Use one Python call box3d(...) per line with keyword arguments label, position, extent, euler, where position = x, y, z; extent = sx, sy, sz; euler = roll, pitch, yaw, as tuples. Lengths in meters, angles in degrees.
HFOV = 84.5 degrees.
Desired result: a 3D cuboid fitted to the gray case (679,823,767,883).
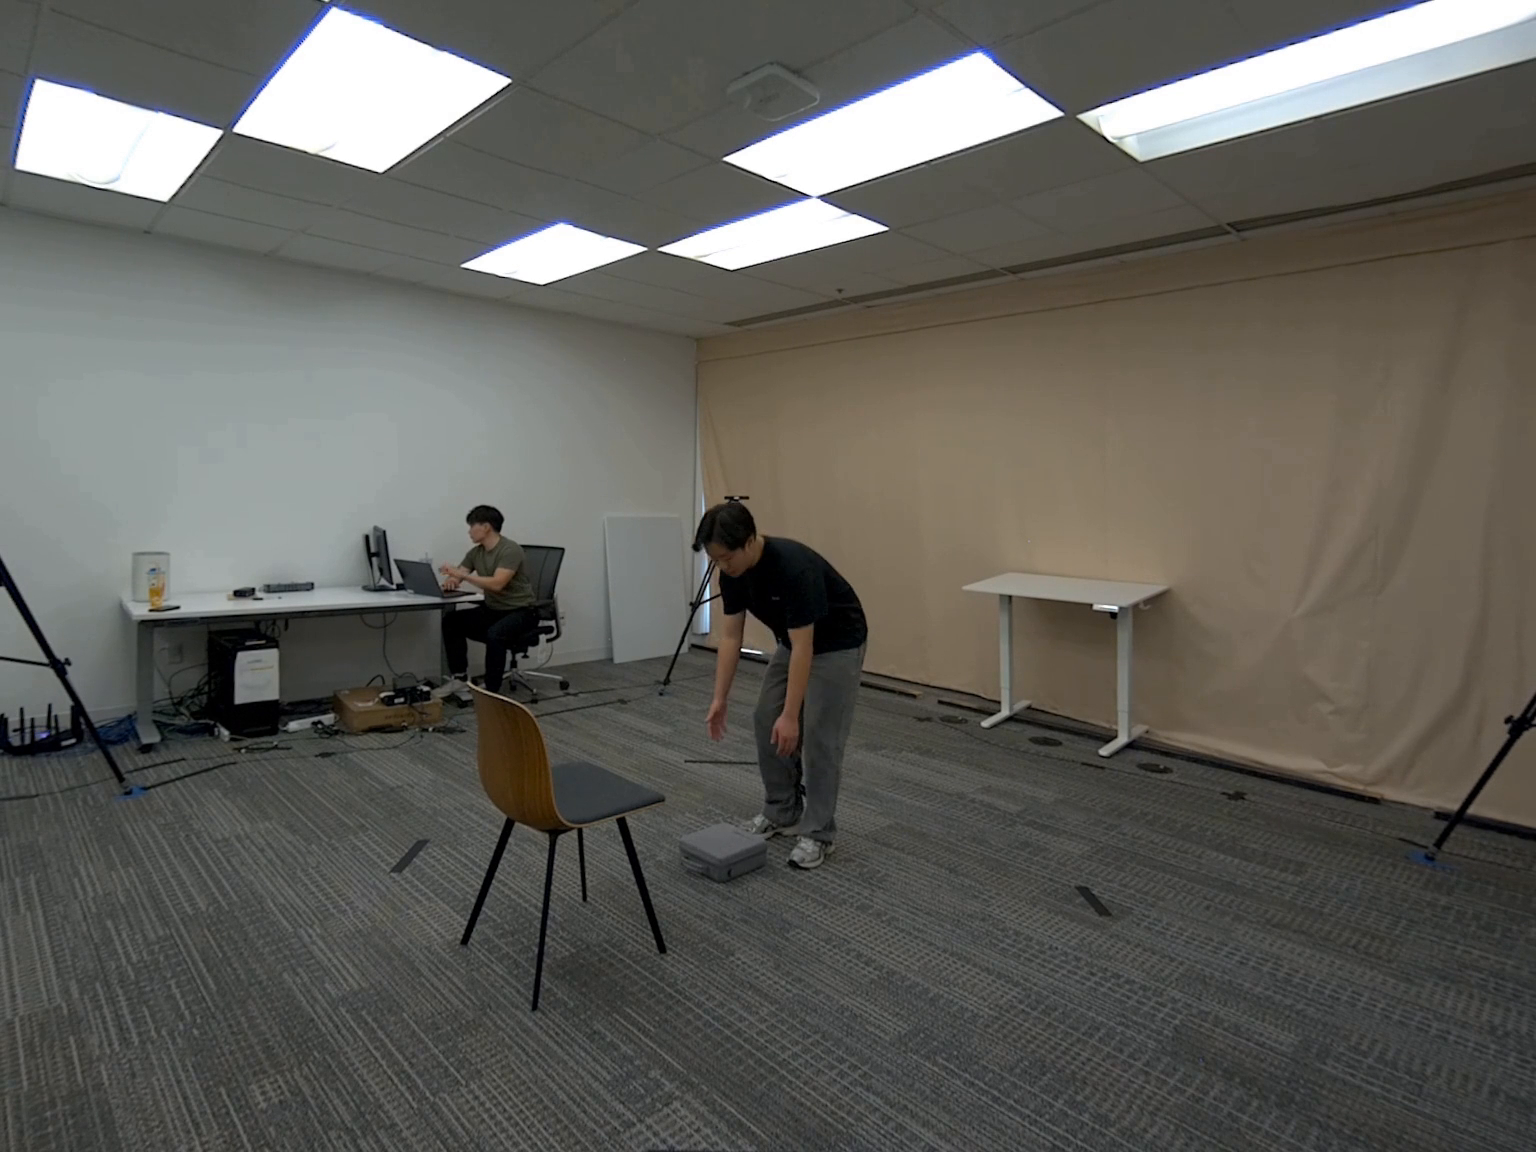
box3d(label="gray case", position=(-0.180, 1.040, 3.177), extent=(0.281, 0.102, 0.270), euler=(-5, 8, -43))
